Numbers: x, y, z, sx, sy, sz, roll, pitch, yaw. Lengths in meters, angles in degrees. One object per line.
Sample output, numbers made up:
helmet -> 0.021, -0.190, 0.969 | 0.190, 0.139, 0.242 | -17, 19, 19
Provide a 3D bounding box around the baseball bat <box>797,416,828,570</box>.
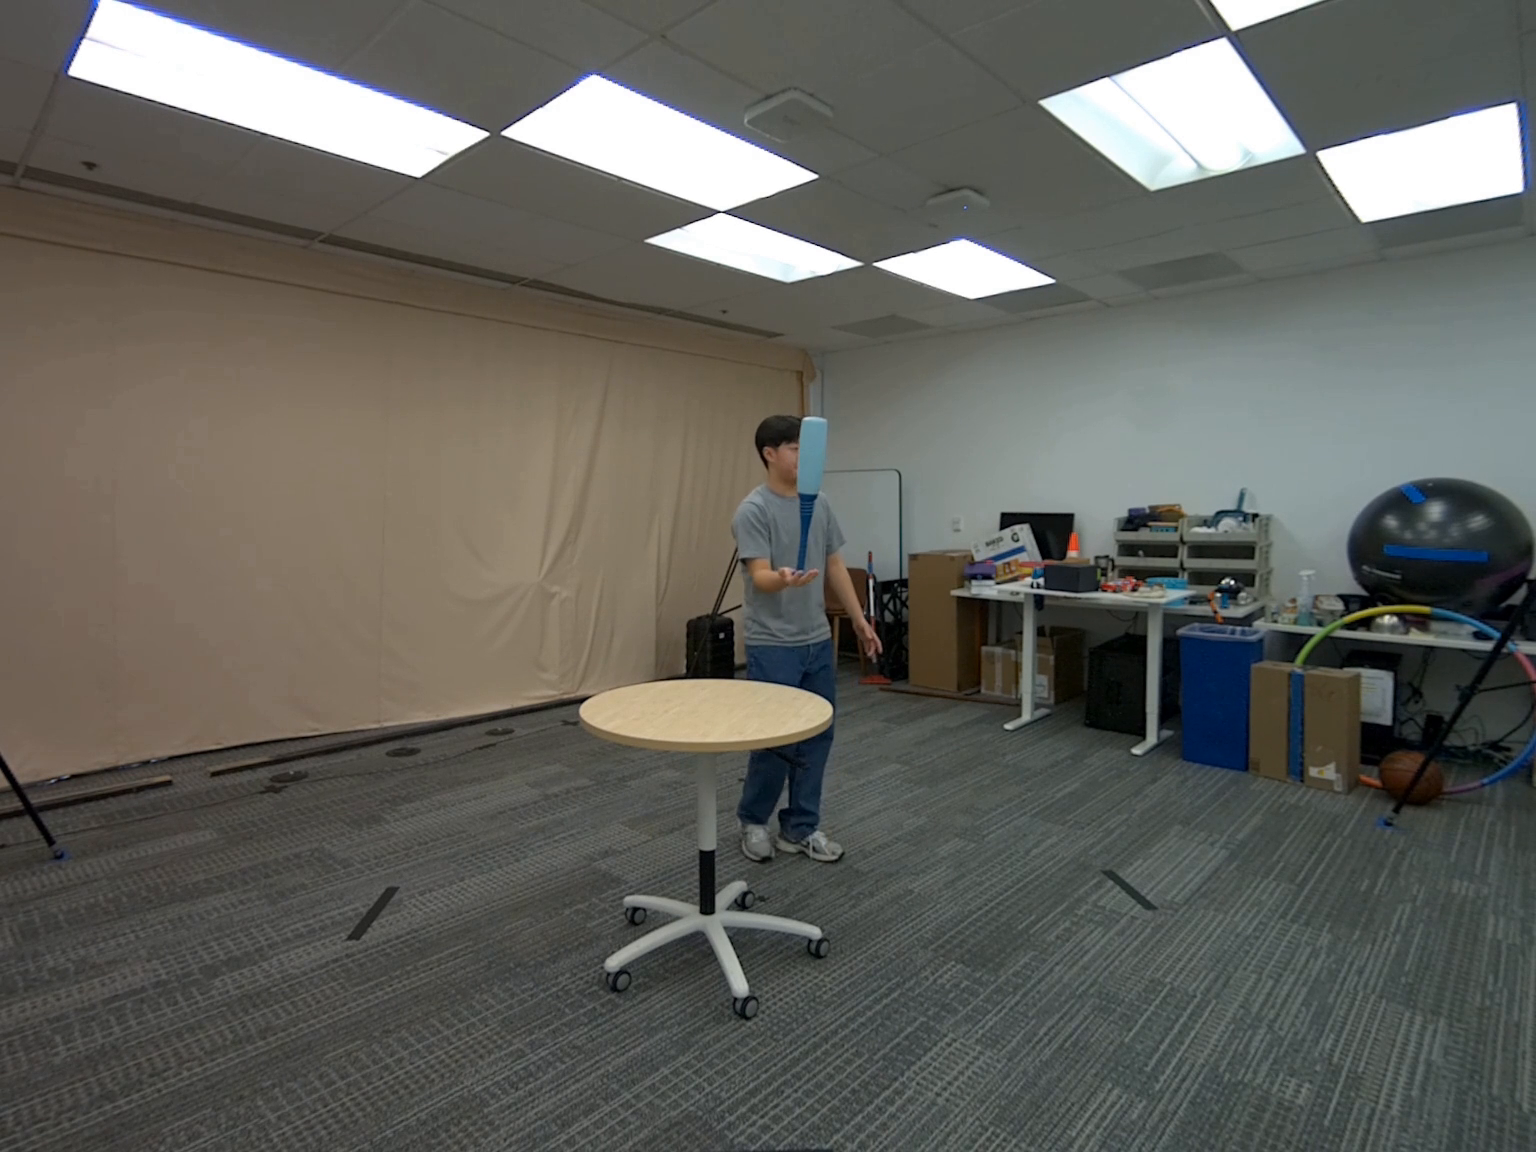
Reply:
baseball bat -> 0.139, -0.266, 2.811 | 0.089, 0.540, 0.090 | 4, 10, -3
